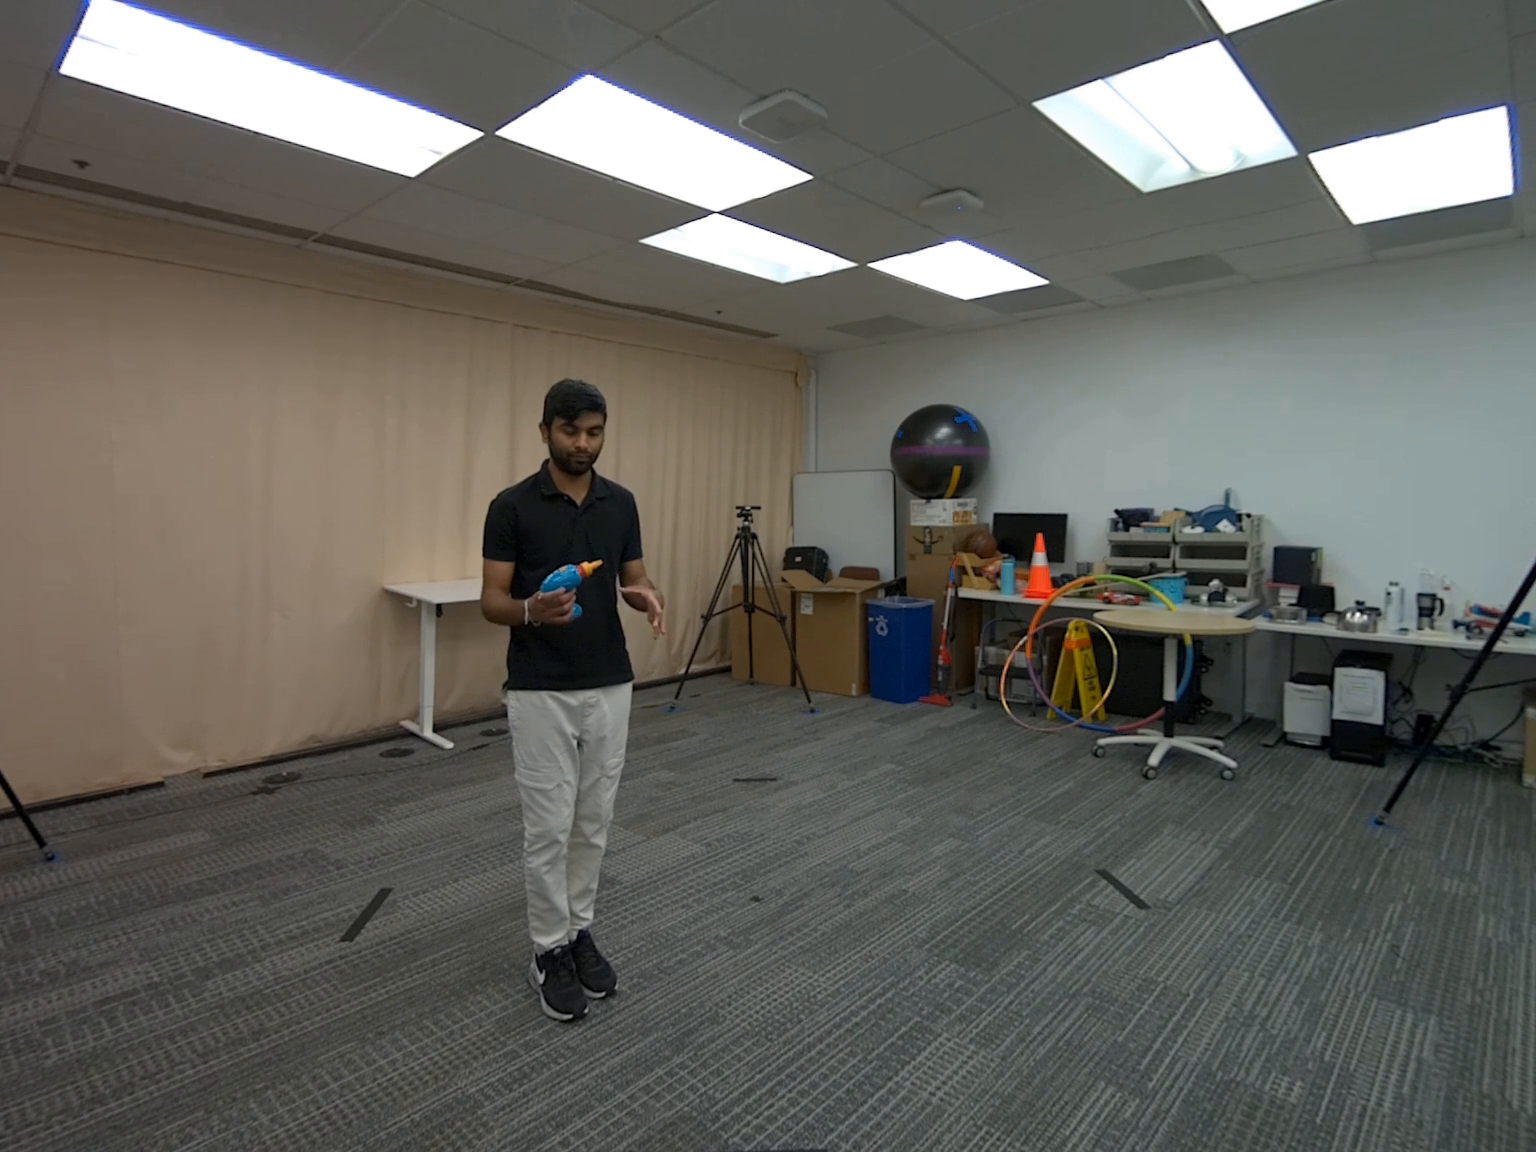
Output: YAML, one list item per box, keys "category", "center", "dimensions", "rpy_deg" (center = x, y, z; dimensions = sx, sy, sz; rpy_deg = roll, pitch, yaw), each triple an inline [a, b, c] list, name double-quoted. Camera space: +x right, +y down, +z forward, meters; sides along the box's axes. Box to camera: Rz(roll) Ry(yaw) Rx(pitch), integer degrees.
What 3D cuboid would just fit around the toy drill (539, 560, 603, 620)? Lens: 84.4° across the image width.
- category: "toy drill"
  center: [-0.489, 0.014, 2.124]
  dimensions: [0.167, 0.062, 0.145]
  rpy_deg: [-32, -15, -27]
